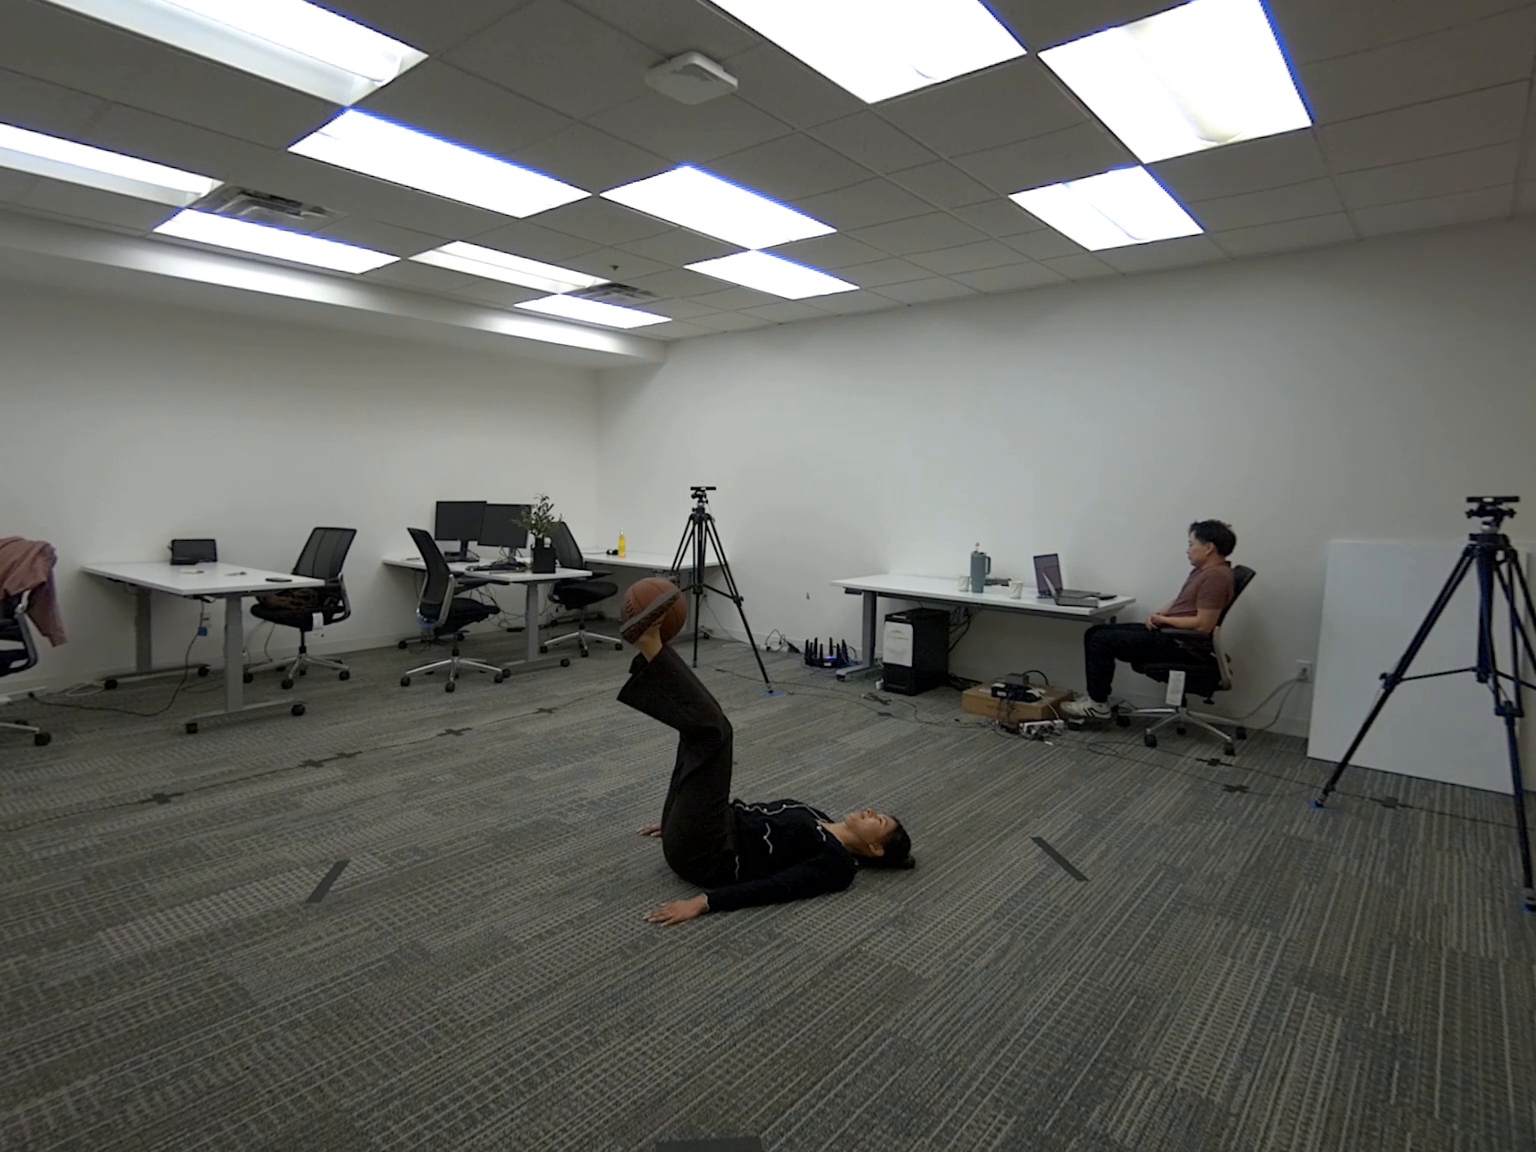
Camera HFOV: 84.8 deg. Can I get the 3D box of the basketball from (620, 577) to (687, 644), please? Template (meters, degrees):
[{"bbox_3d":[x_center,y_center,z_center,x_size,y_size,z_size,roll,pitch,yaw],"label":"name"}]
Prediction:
[{"bbox_3d":[-0.413,0.116,3.019,0.236,0.234,0.238,0,7,-2],"label":"basketball"}]
